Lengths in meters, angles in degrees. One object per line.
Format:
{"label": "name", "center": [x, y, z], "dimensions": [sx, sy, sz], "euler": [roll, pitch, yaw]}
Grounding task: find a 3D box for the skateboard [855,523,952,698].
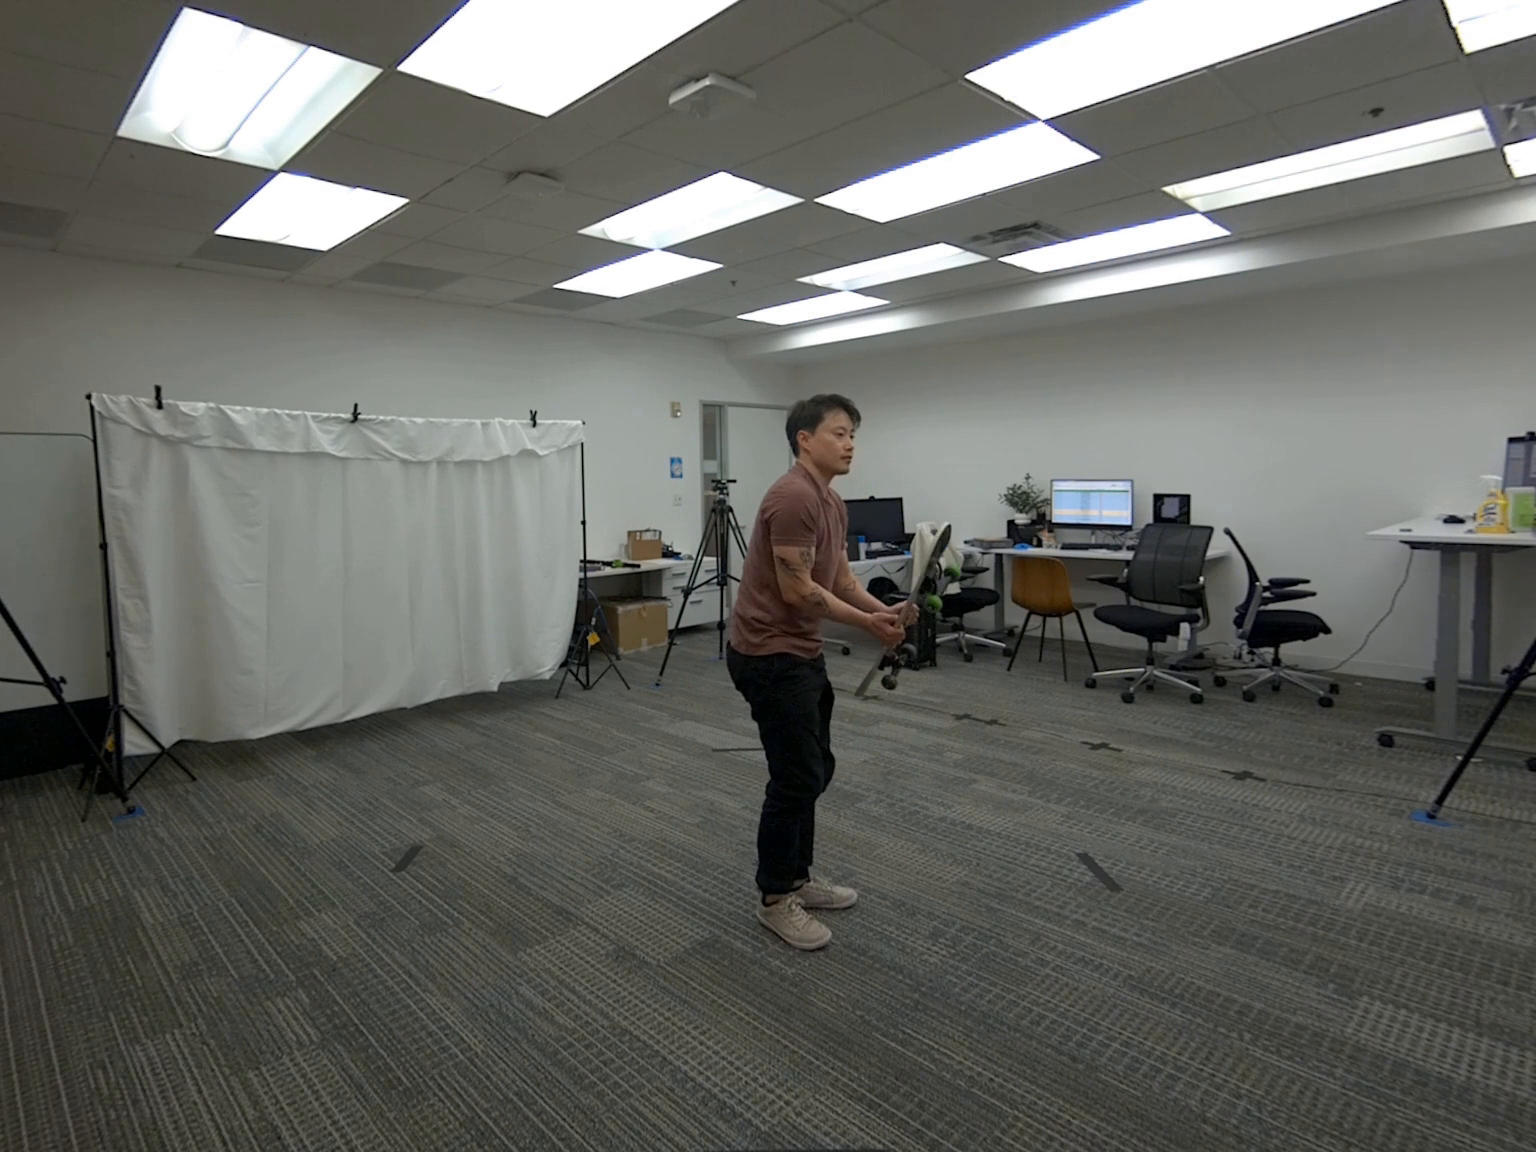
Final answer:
{"label": "skateboard", "center": [0.438, 0.154, 2.604], "dimensions": [0.112, 0.771, 0.193], "euler": [32, 48, 14]}
